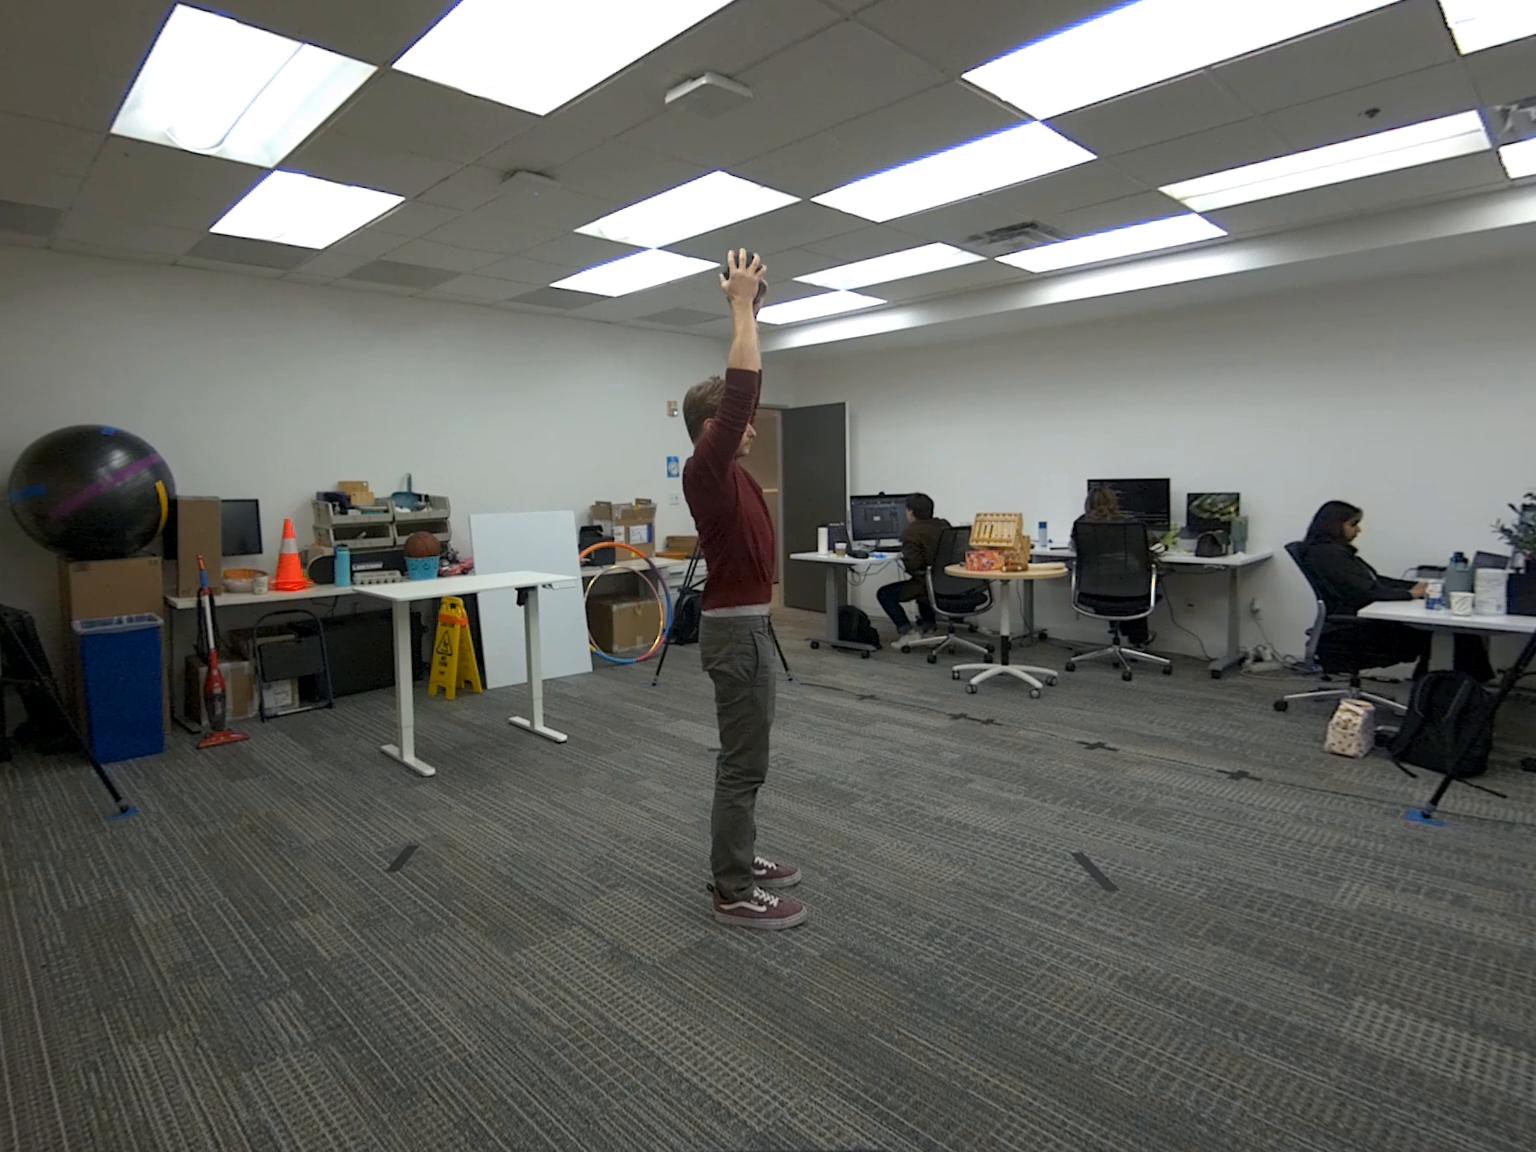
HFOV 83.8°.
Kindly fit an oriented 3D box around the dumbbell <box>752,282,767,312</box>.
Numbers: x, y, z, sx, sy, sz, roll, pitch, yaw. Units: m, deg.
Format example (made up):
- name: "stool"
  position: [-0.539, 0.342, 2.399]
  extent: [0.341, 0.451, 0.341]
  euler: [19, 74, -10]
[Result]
- name: "dumbbell"
  position: [-0.092, -0.945, 2.715]
  extent: [0.123, 0.108, 0.293]
  euler: [-8, 6, 5]
